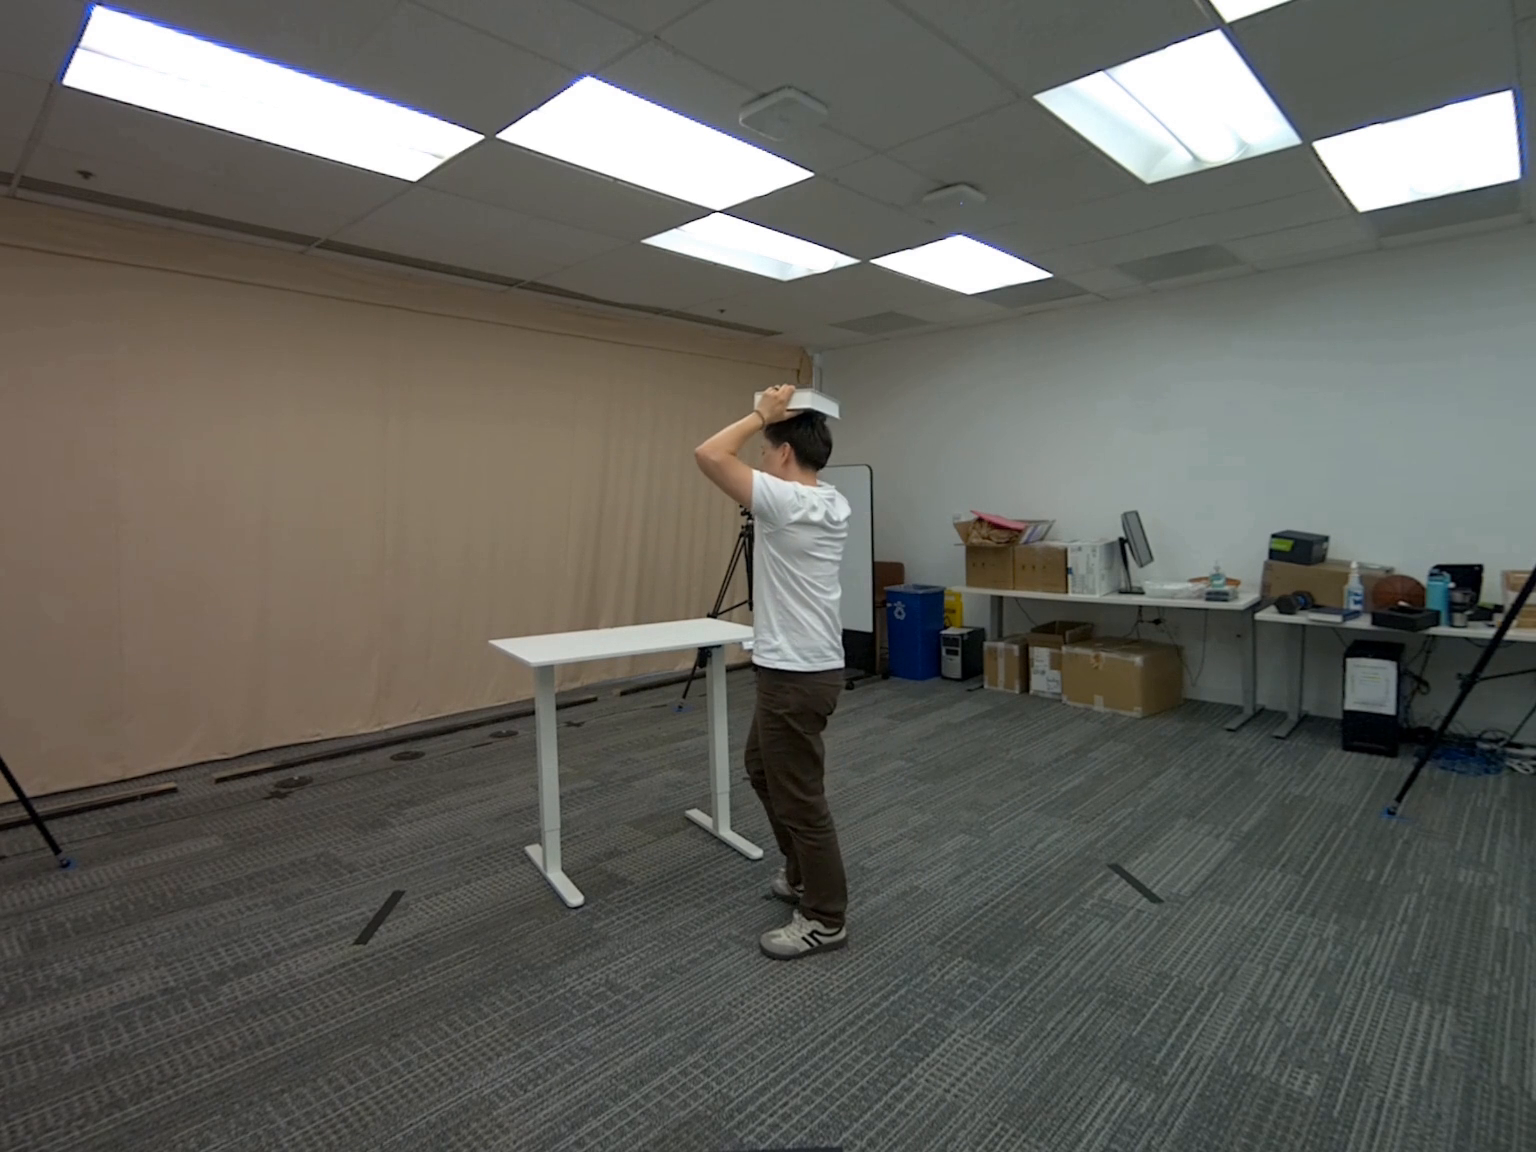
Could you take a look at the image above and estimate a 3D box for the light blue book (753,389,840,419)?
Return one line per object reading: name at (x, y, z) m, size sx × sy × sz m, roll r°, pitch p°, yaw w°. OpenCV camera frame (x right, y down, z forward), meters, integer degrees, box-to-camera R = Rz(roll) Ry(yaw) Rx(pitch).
light blue book at (0.101, -0.535, 2.659) m, size 0.196 × 0.059 × 0.254 m, roll 4°, pitch 3°, yaw 26°
